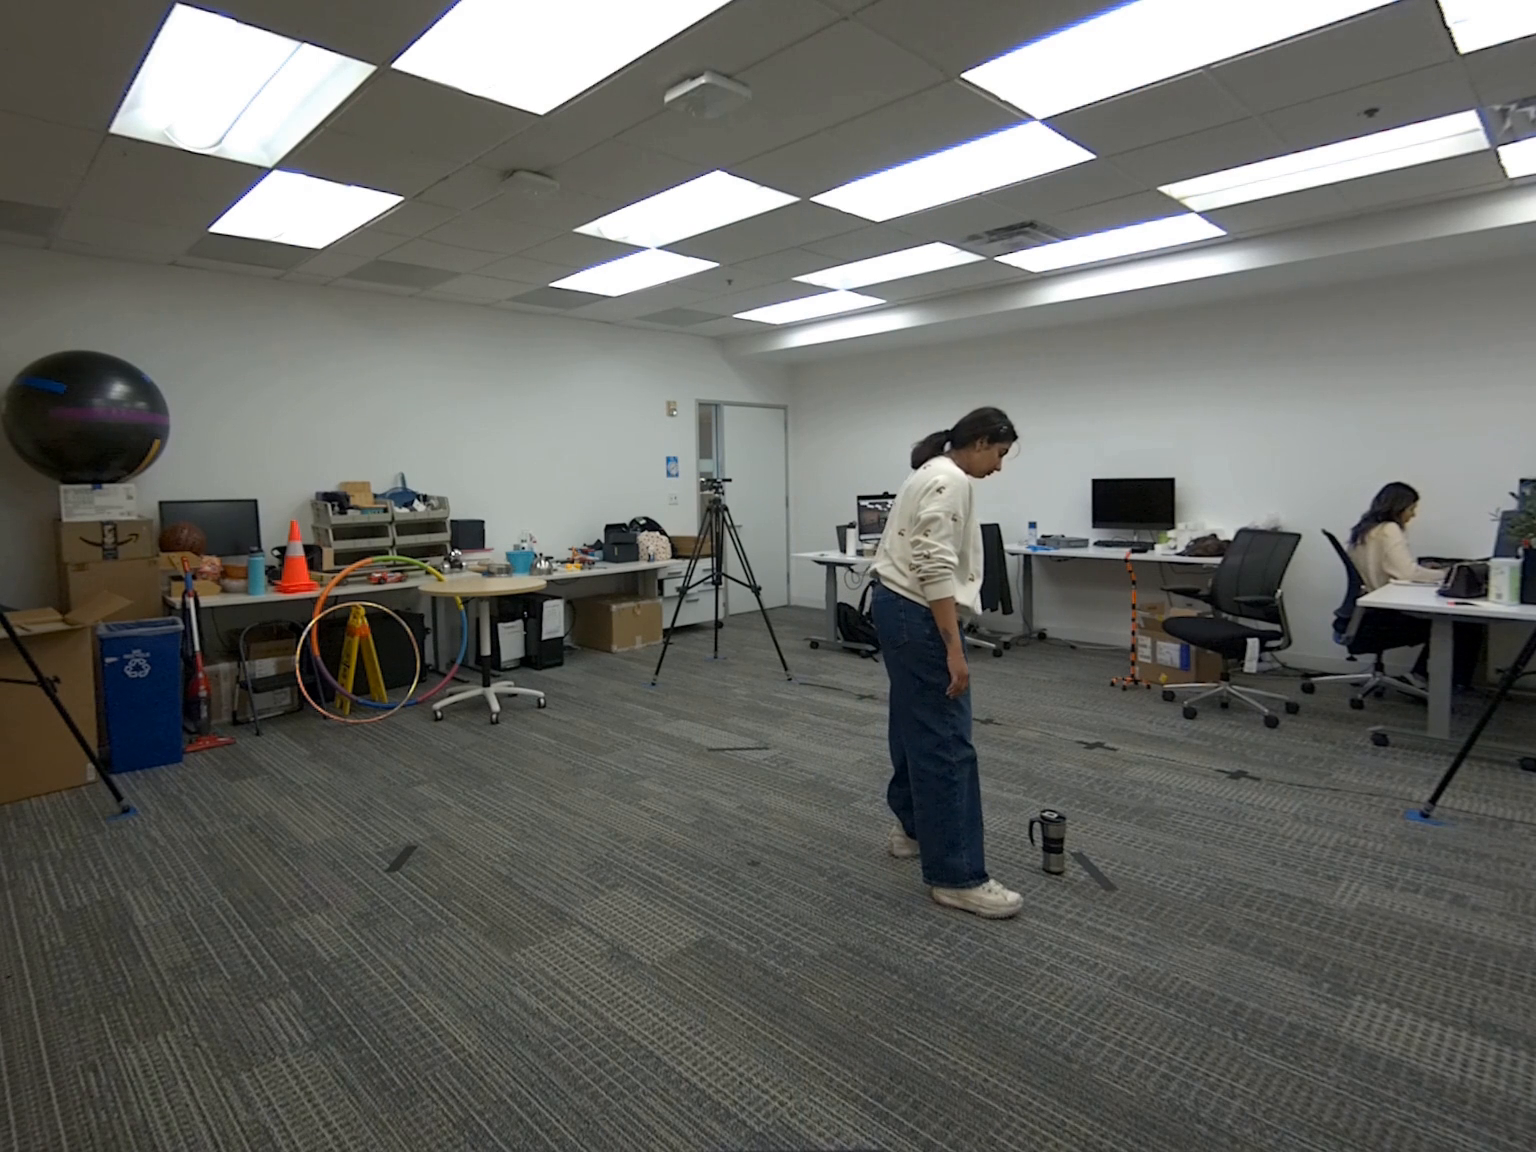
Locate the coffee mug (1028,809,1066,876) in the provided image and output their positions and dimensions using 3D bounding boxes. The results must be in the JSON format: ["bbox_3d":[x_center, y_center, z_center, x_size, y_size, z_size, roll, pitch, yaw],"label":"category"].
[{"bbox_3d":[0.997,0.939,3.015,0.126,0.201,0.086,9,12,41],"label":"coffee mug"}]
